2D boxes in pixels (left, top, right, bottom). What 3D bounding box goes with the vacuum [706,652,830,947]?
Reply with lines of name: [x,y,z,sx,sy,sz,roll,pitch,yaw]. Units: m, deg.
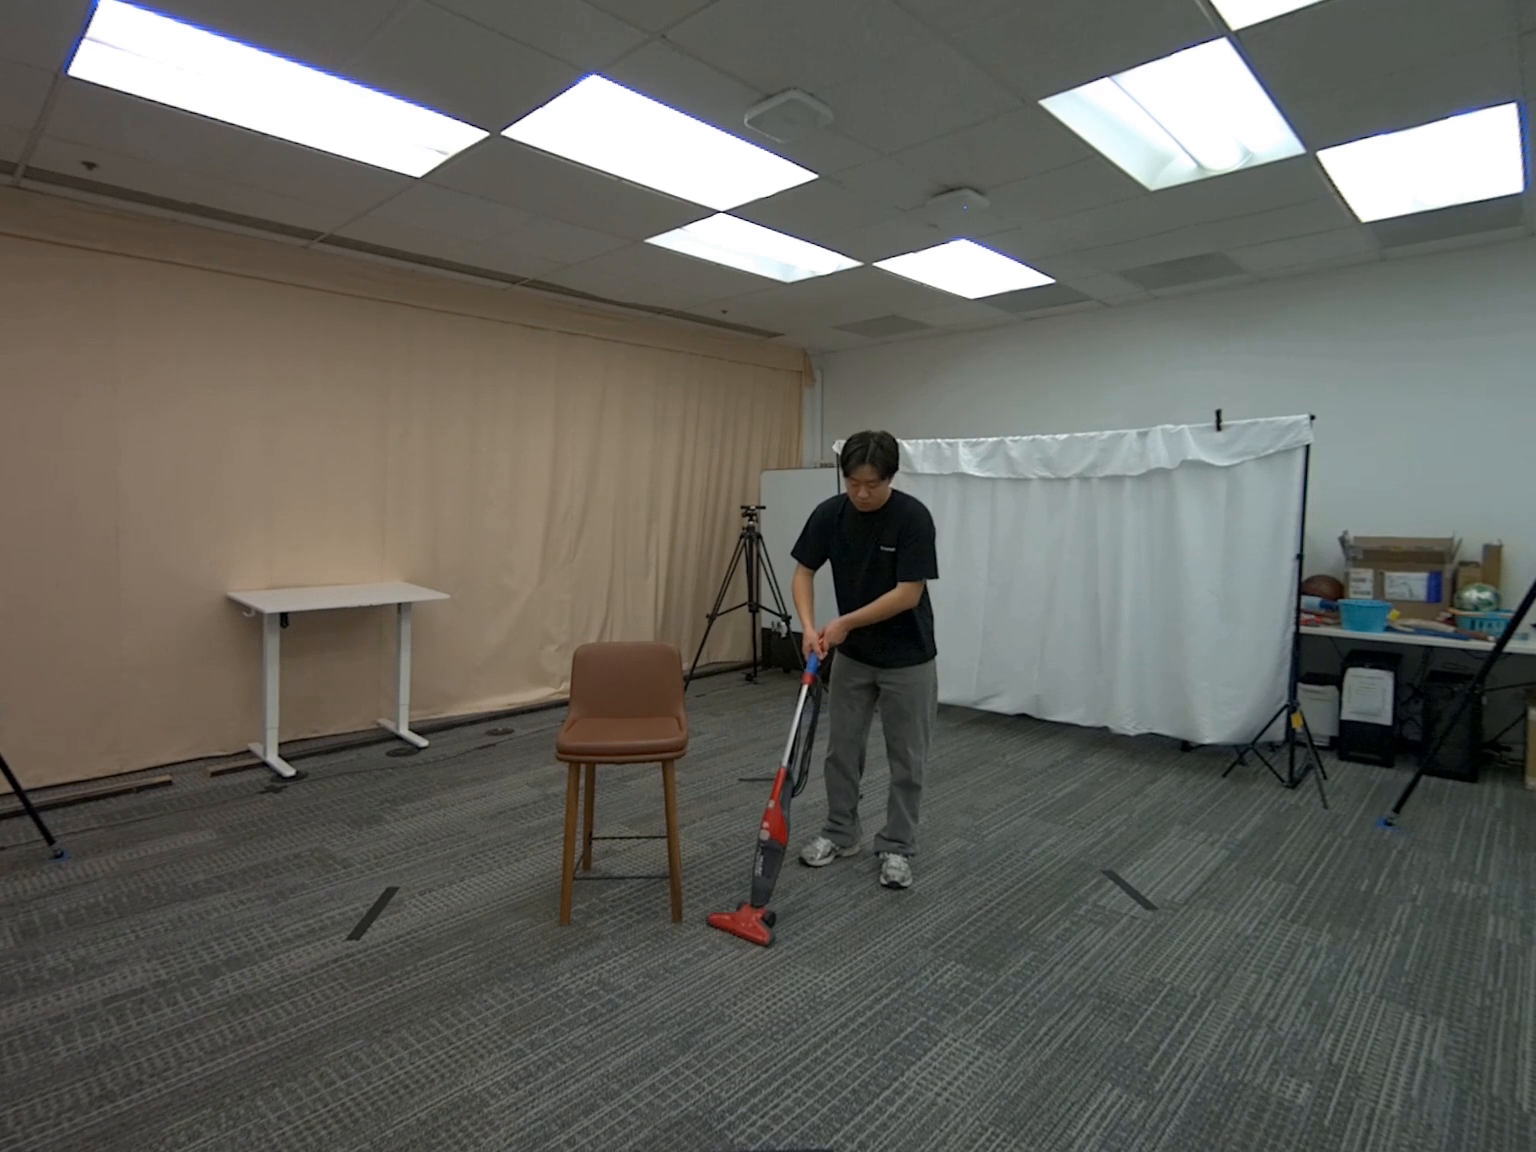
vacuum: [0.081,0.681,2.943,0.261,1.054,0.139,1,-24,39]
